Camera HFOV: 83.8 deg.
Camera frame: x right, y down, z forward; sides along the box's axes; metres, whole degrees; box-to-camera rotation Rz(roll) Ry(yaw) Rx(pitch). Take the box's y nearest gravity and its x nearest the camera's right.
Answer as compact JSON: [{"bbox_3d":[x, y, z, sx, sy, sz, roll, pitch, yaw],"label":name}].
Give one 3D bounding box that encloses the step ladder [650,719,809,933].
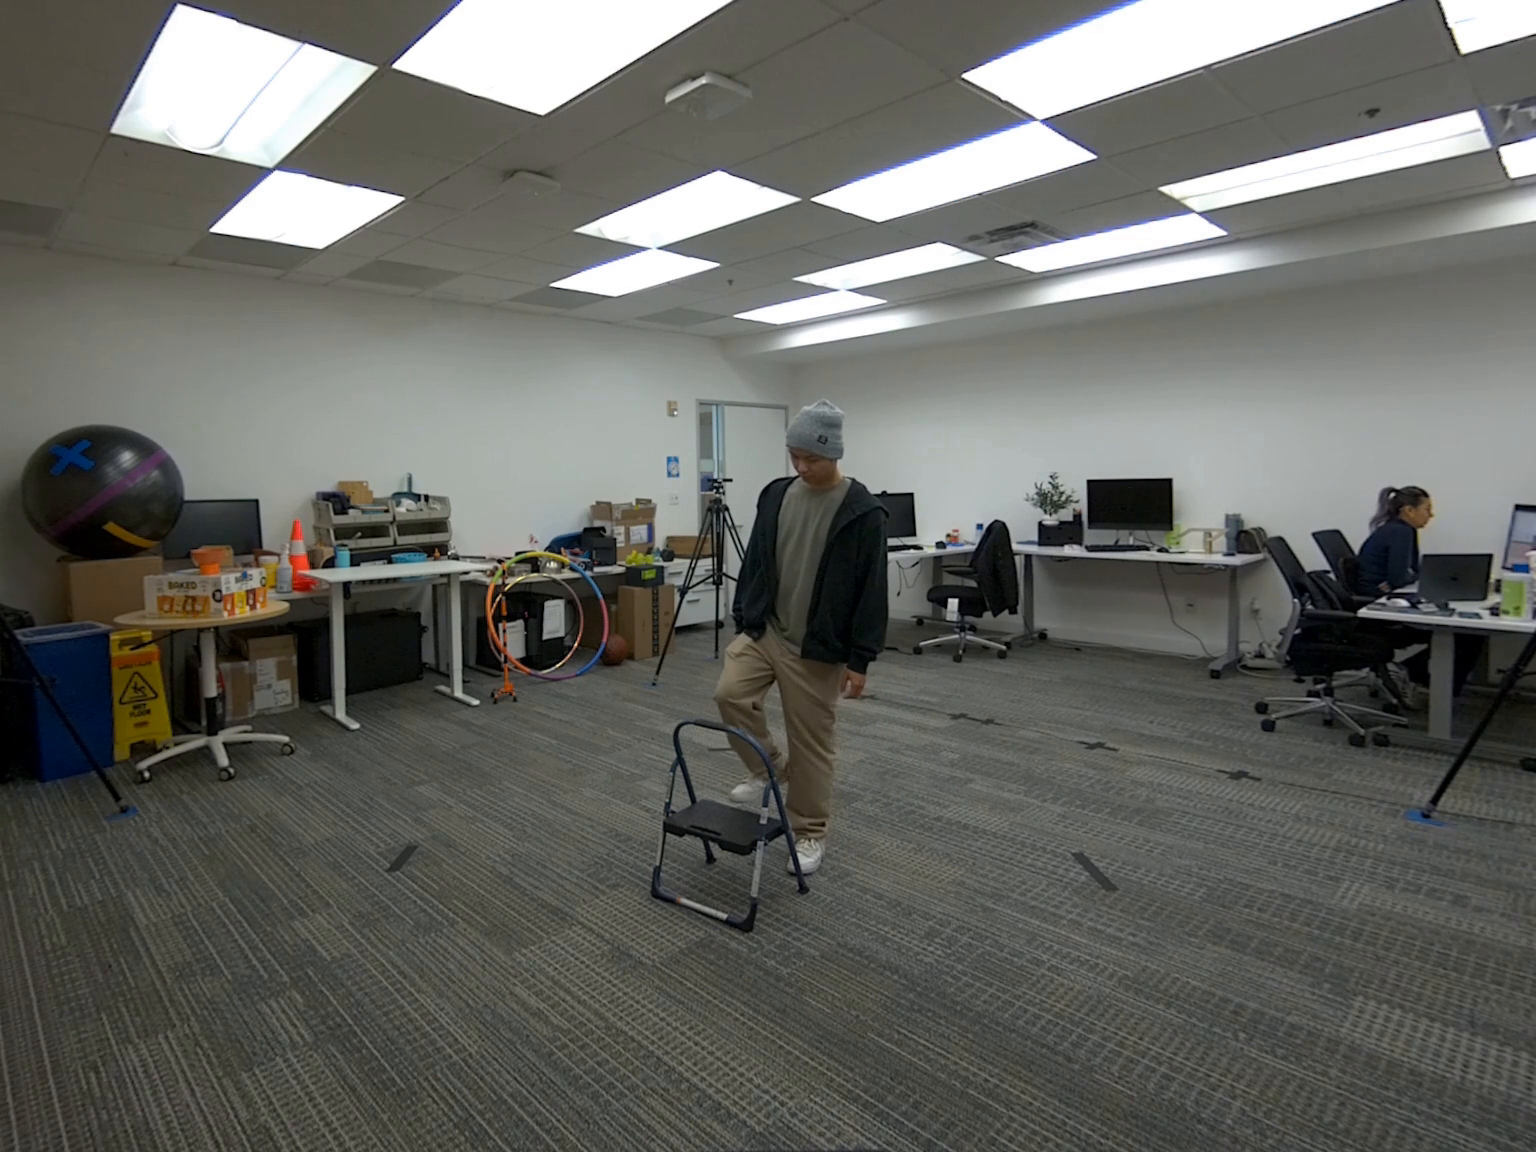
[{"bbox_3d":[-0.135,0.770,2.865,0.443,0.604,0.341,2,5,35],"label":"step ladder"}]
